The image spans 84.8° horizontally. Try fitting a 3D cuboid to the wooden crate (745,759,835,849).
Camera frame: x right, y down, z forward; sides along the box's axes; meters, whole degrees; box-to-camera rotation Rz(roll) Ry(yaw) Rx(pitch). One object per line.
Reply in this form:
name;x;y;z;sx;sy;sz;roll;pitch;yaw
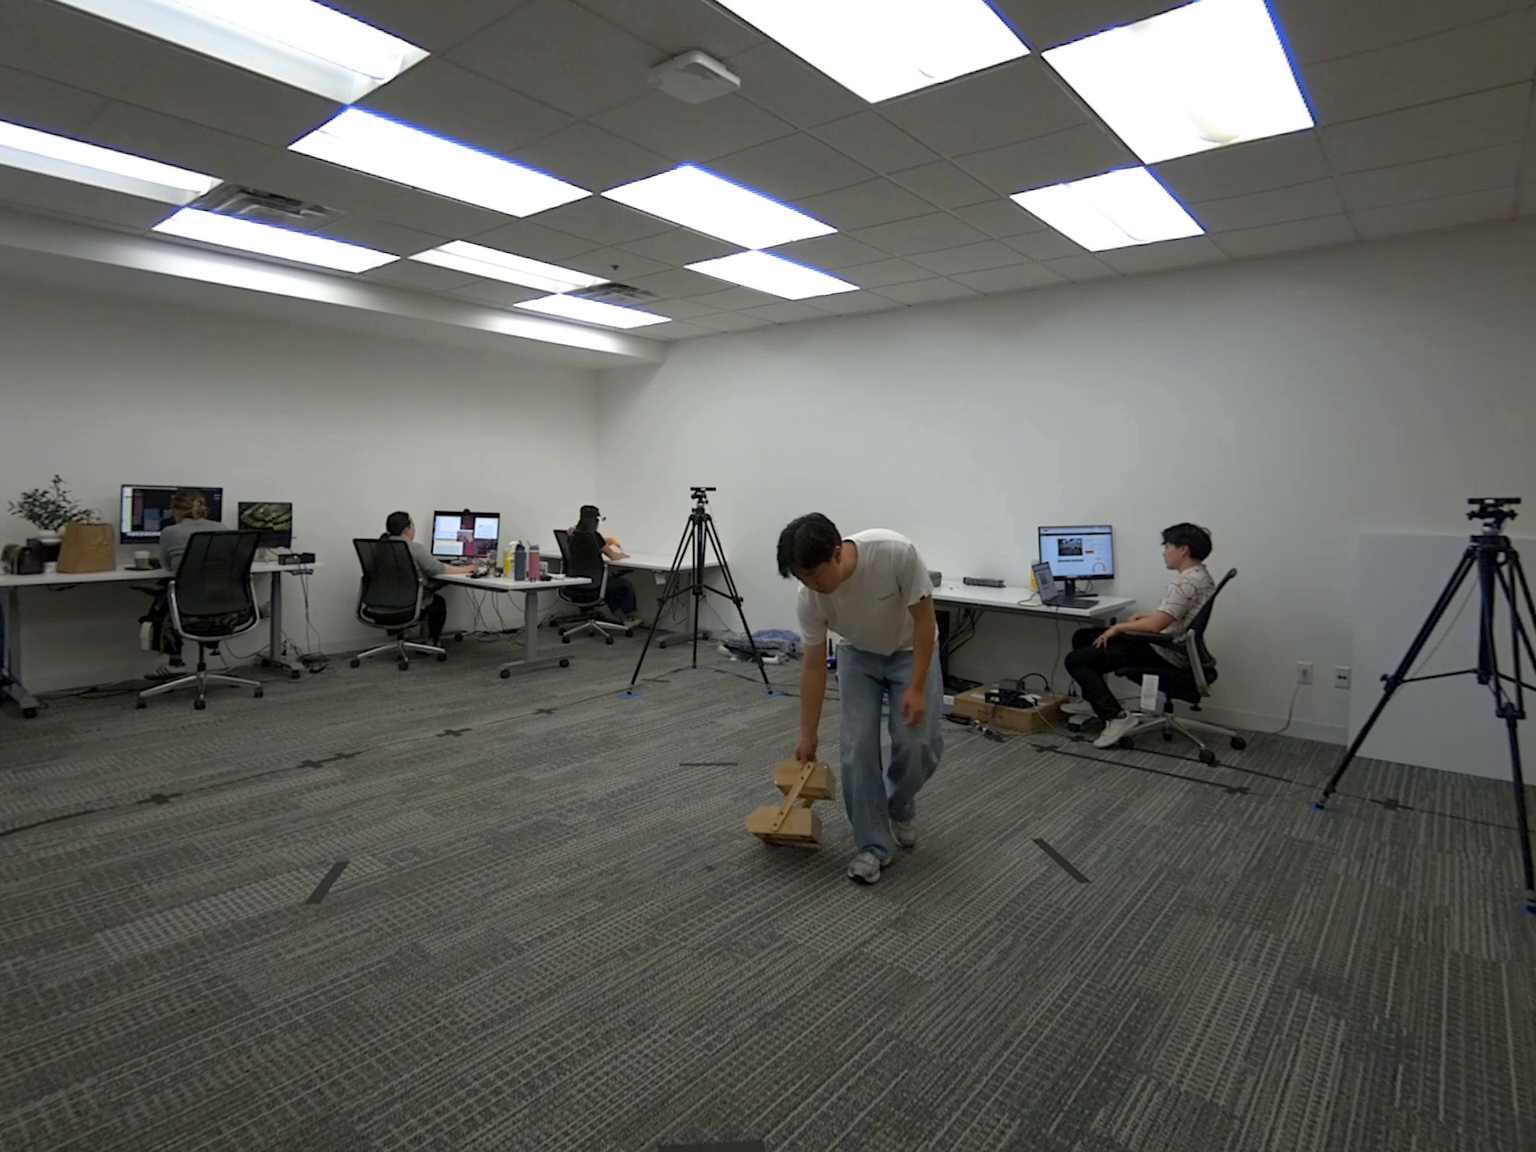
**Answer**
wooden crate;0.079;0.862;3.260;0.306;0.279;0.314;0;-25;12
